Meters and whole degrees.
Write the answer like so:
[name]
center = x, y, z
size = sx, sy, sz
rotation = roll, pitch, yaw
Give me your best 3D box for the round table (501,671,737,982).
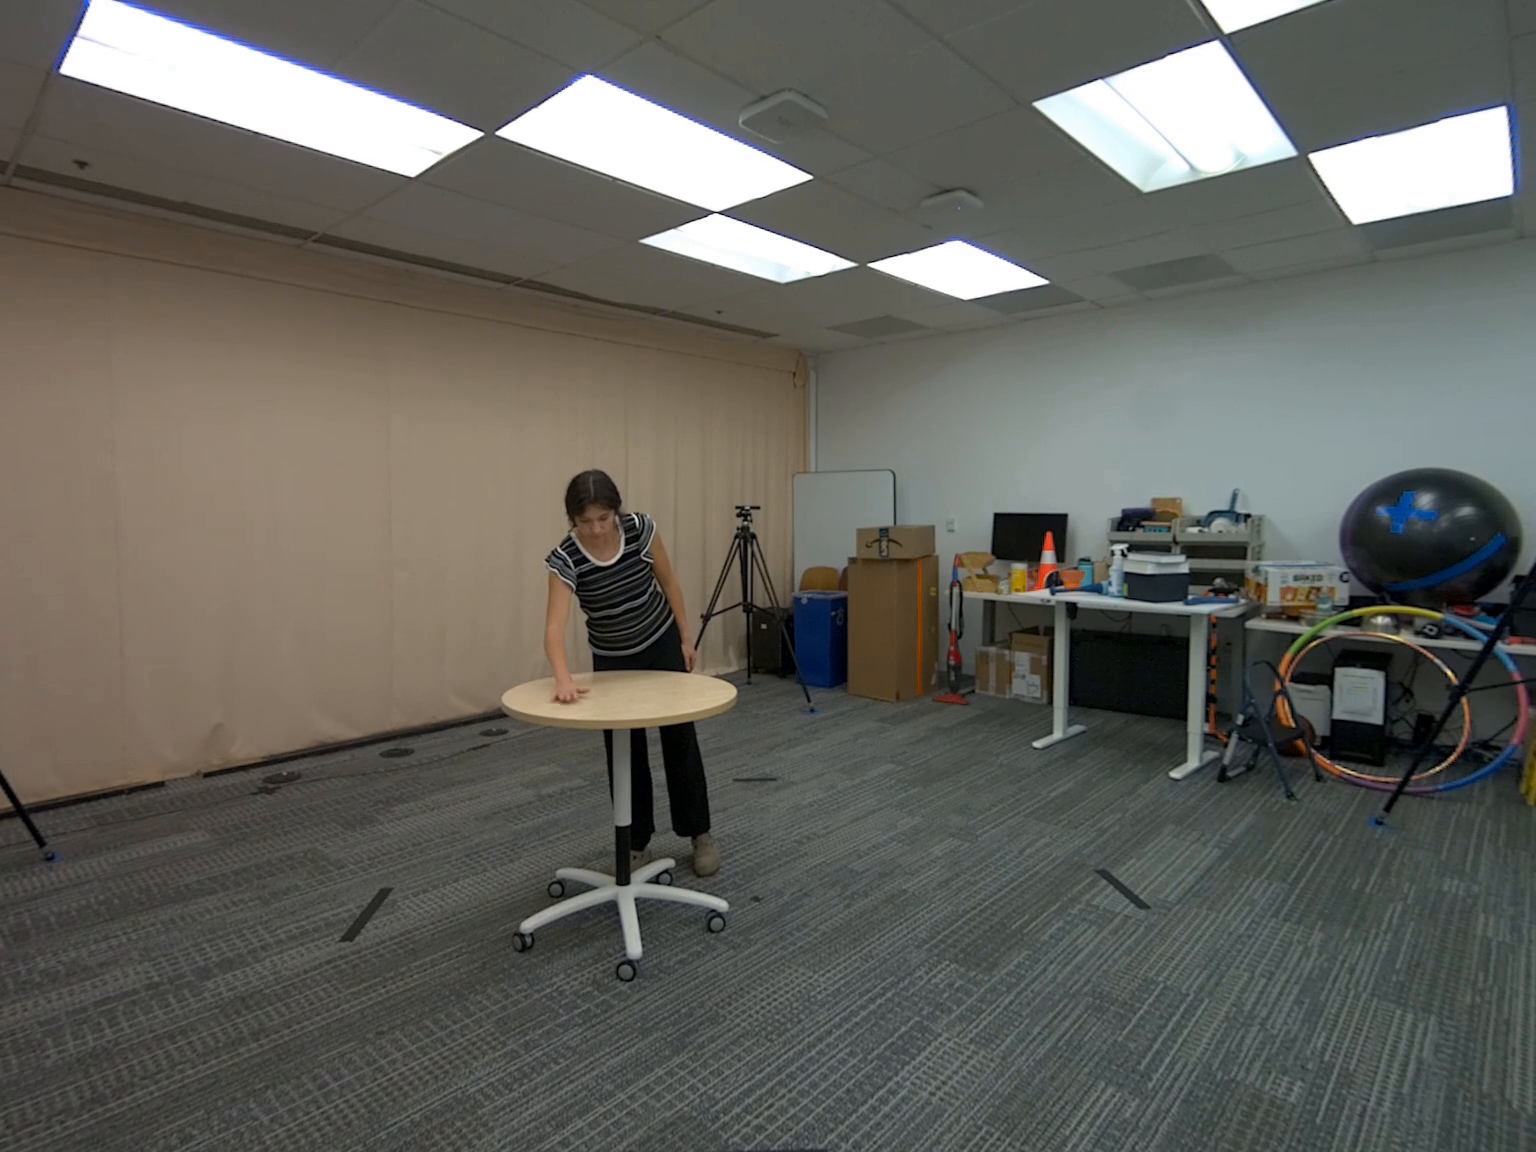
[round table]
center = -0.483, 0.773, 2.784
size = 0.763, 0.792, 0.766
rotation = -1, 3, -2
